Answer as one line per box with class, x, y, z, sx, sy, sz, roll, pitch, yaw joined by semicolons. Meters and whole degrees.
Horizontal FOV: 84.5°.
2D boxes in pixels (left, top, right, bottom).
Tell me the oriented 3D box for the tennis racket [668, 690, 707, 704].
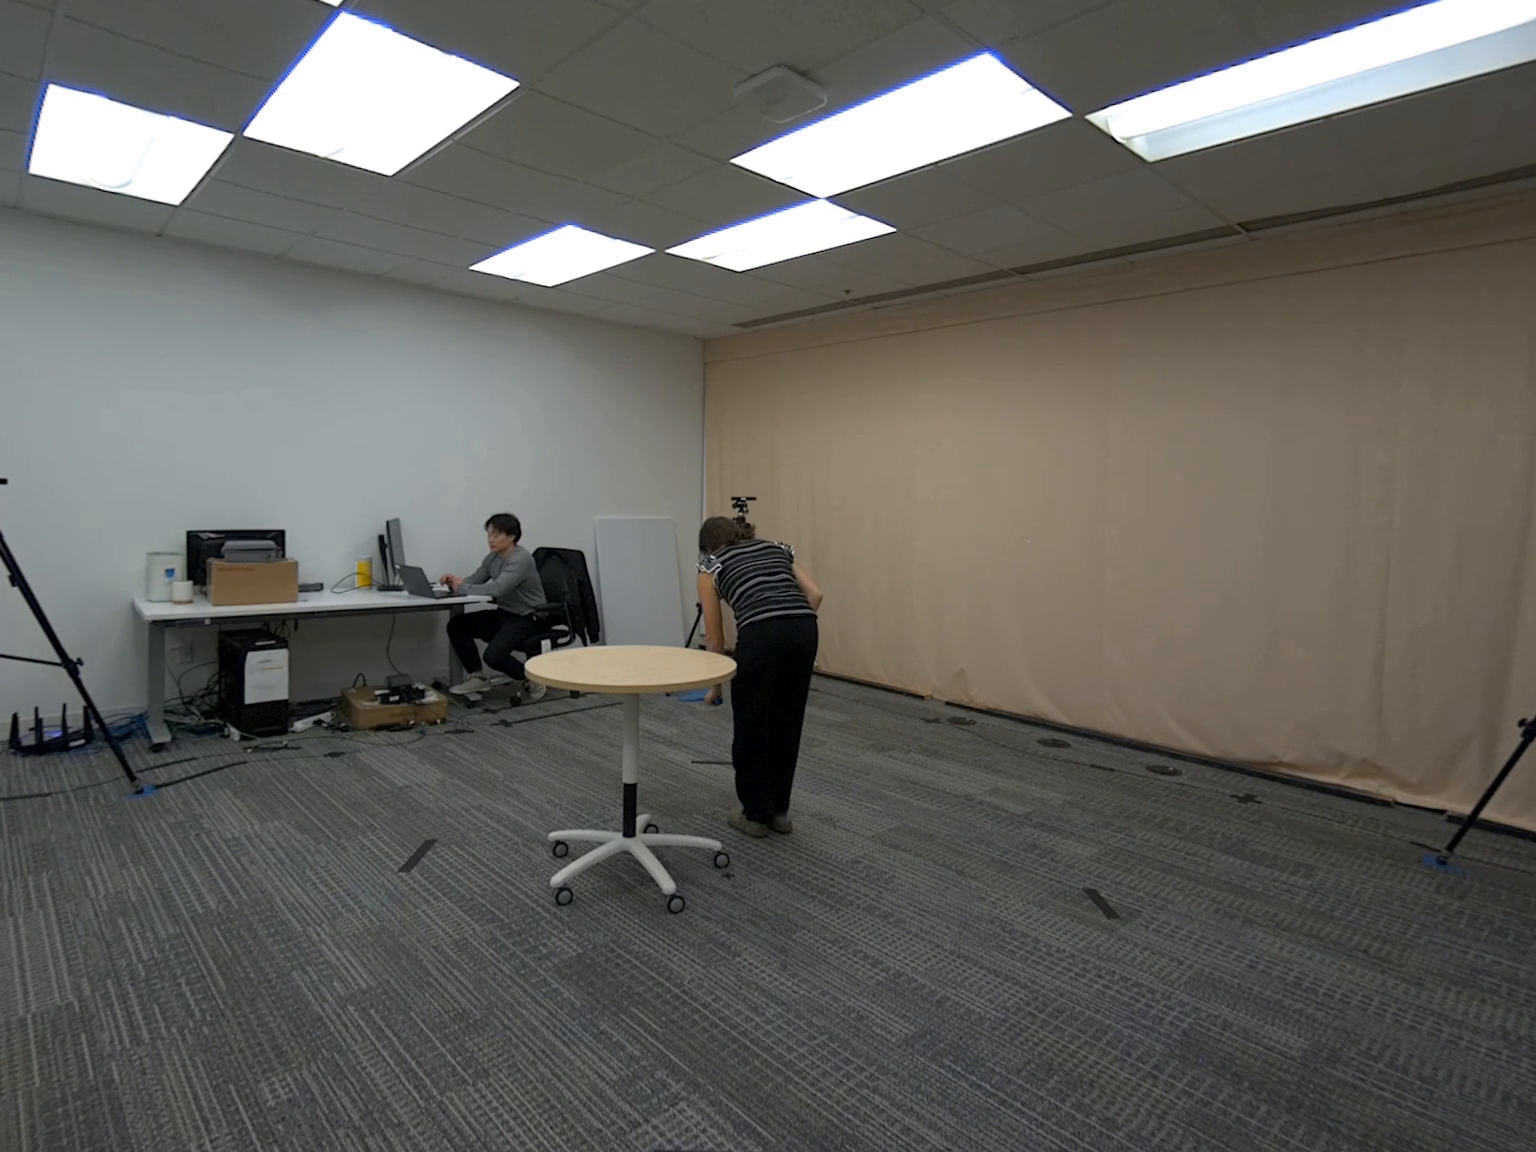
tennis racket;-0.290;0.547;3.844;0.211;0.032;0.438;-10;1;-20
